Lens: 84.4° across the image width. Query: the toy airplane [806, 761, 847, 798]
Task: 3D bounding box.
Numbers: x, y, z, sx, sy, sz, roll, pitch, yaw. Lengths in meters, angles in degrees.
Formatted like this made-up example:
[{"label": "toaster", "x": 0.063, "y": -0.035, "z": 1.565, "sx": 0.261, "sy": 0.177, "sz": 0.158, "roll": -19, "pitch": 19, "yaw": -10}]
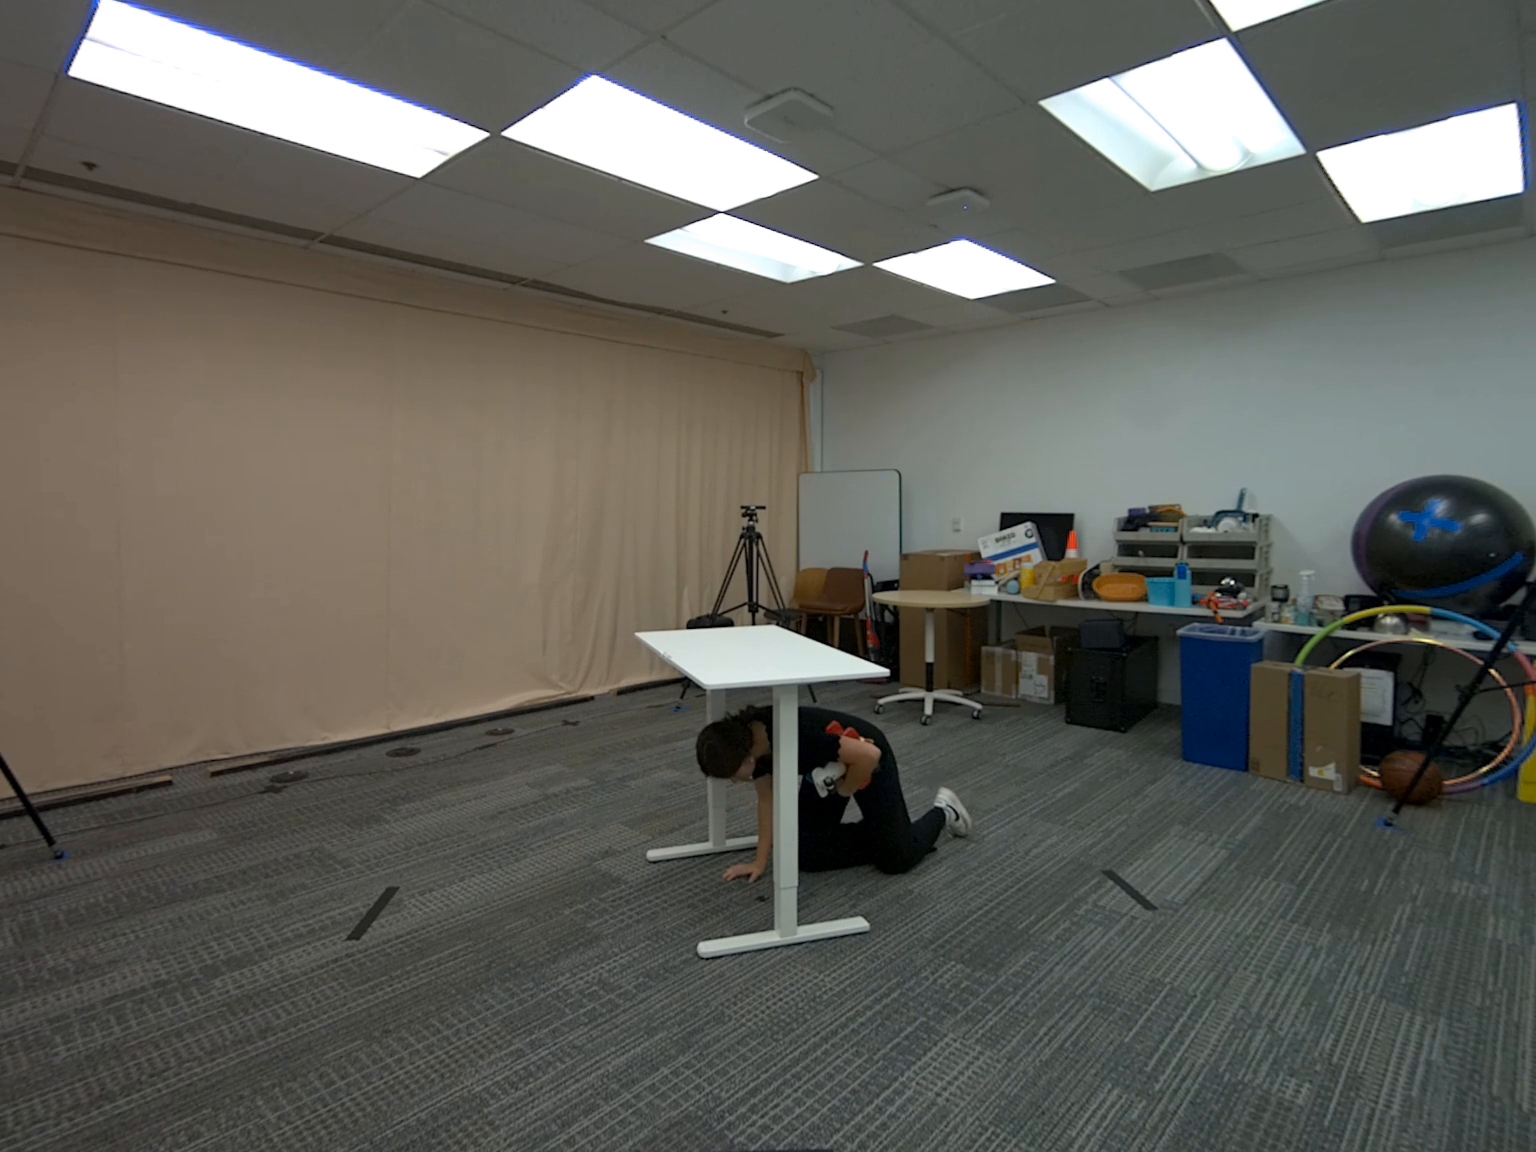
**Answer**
[{"label": "toy airplane", "x": 0.255, "y": 0.648, "z": 2.988, "sx": 0.252, "sy": 0.250, "sz": 0.161, "roll": -1, "pitch": 11, "yaw": -29}]
